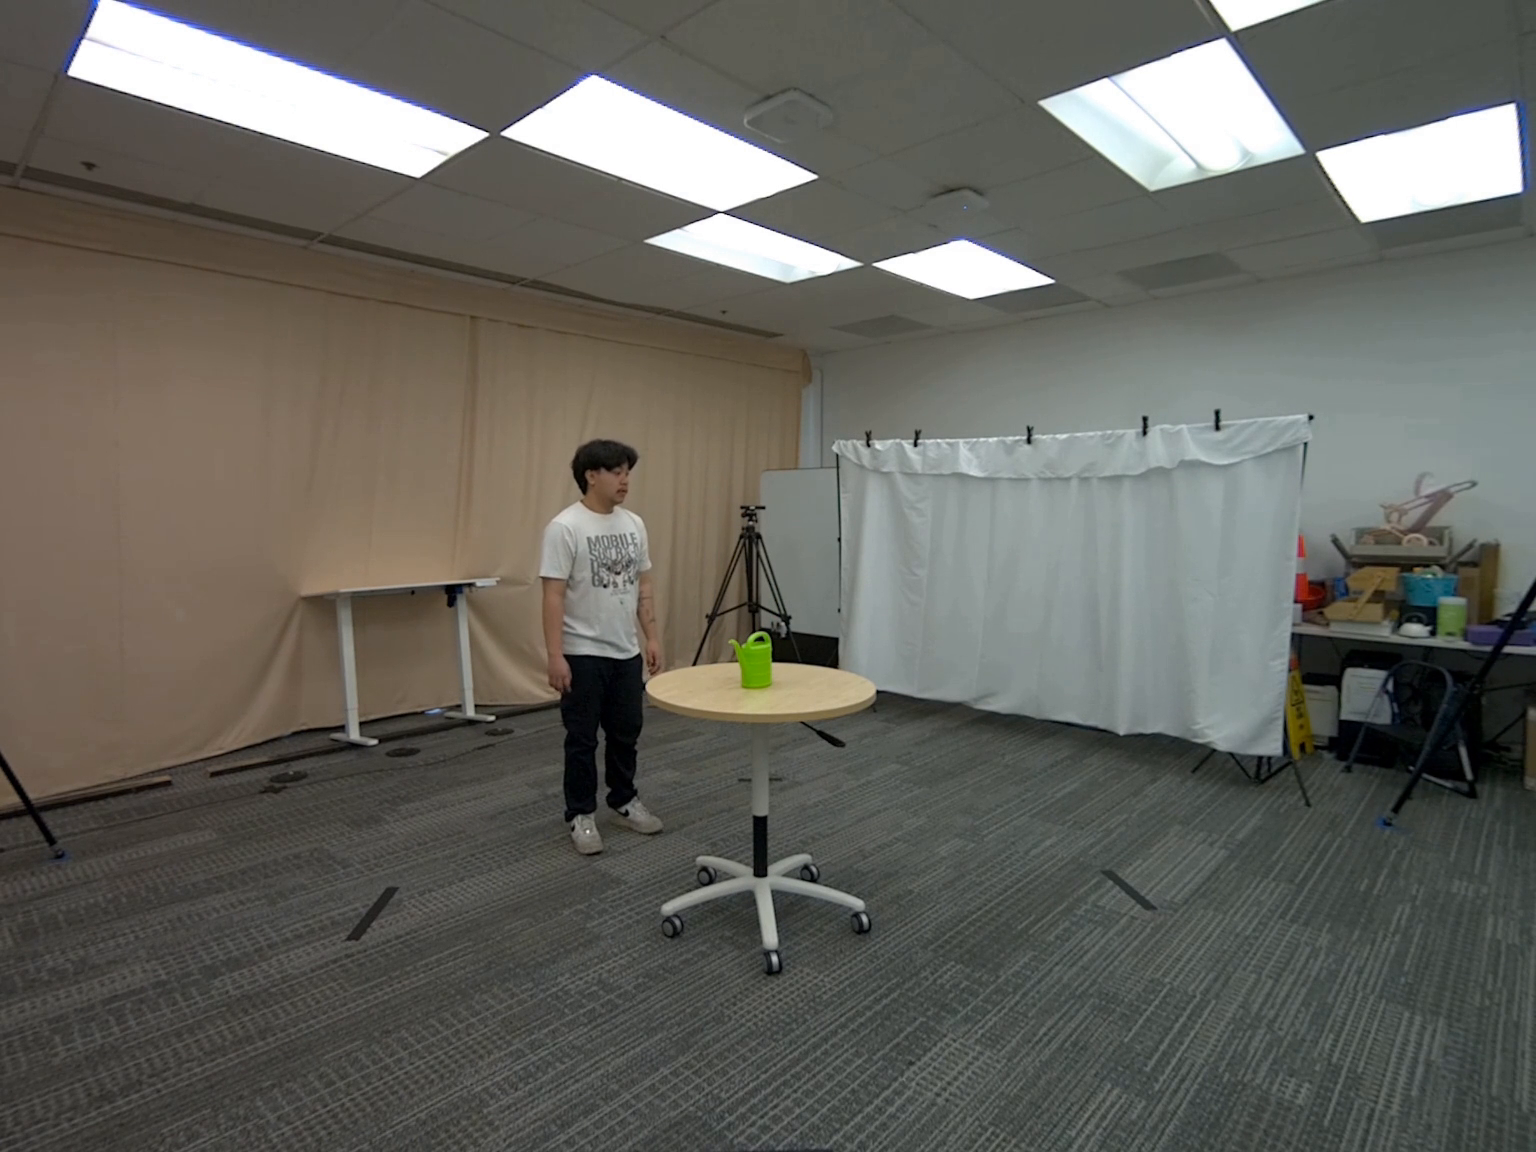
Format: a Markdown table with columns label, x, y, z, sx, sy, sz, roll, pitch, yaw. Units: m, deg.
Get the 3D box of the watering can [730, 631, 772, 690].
| label | x | y | z | sx | sy | sz | roll | pitch | yaw |
| --- | --- | --- | --- | --- | --- | --- | --- | --- | --- |
| watering can | -0.059 | 0.281 | 2.777 | 0.101 | 0.176 | 0.270 | 3 | 5 | 41 |
